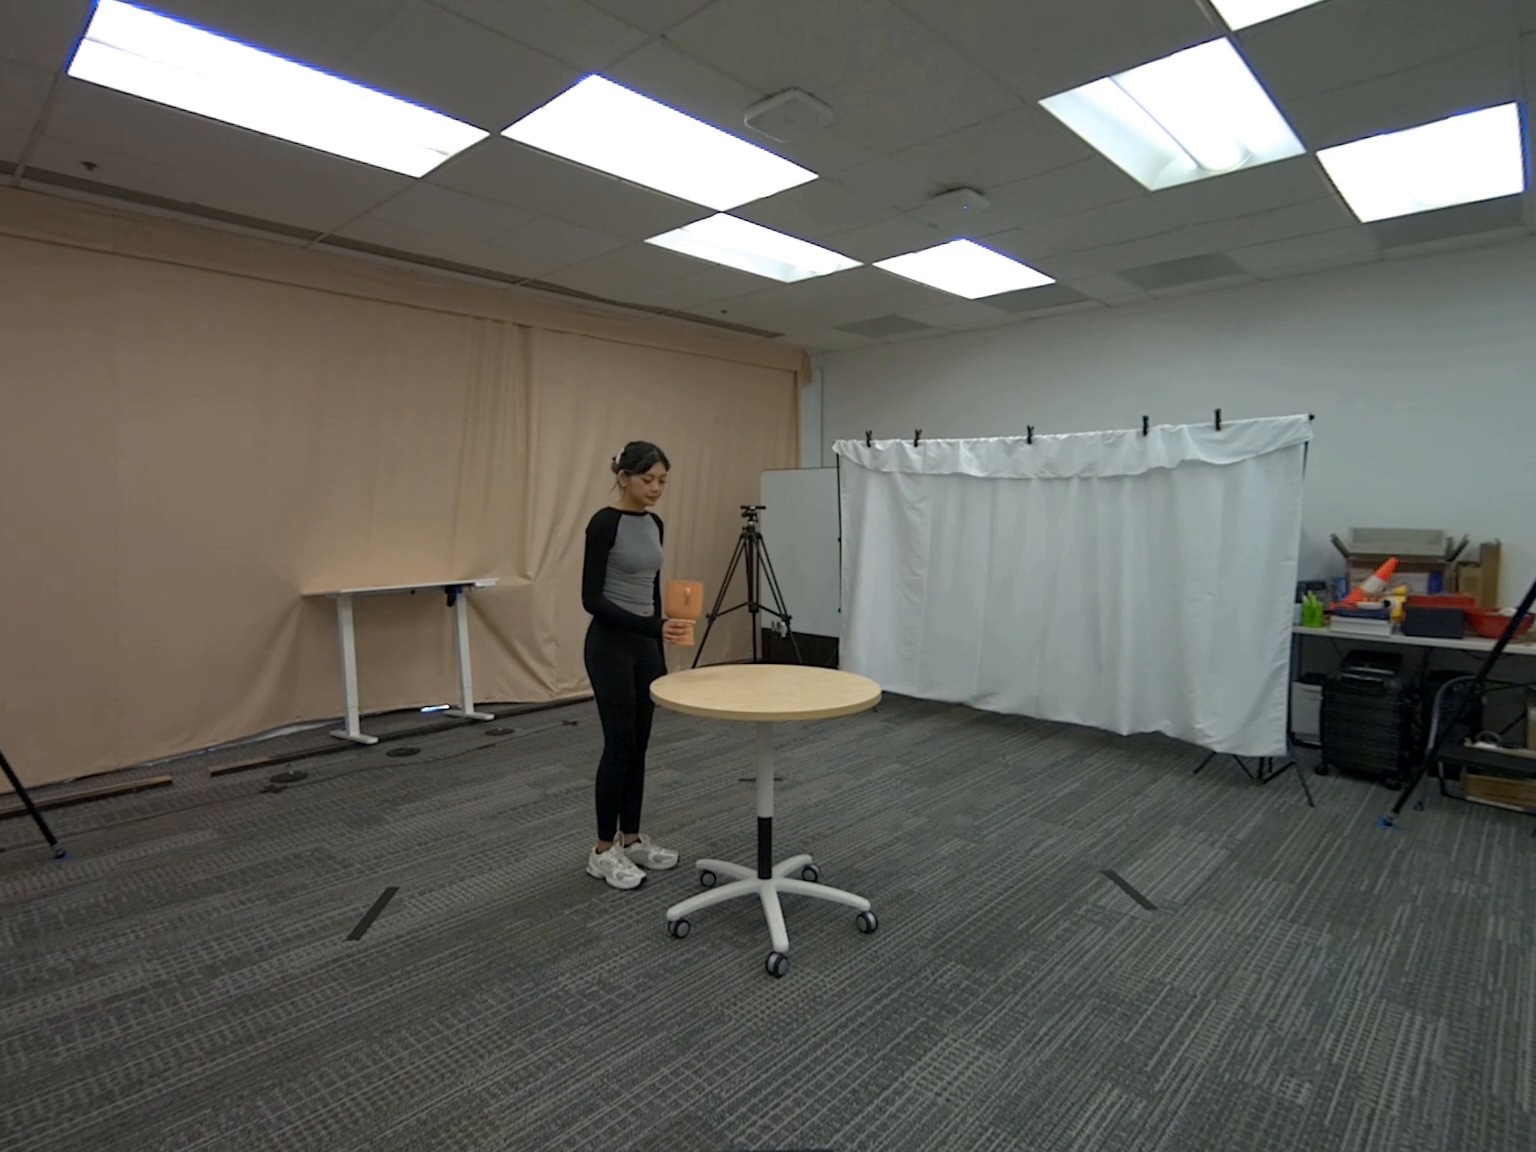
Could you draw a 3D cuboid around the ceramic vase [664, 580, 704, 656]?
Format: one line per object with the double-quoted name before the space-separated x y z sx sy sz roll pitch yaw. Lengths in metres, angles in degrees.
"ceramic vase" -0.297 0.134 2.958 0.138 0.220 0.154 2 -5 27
